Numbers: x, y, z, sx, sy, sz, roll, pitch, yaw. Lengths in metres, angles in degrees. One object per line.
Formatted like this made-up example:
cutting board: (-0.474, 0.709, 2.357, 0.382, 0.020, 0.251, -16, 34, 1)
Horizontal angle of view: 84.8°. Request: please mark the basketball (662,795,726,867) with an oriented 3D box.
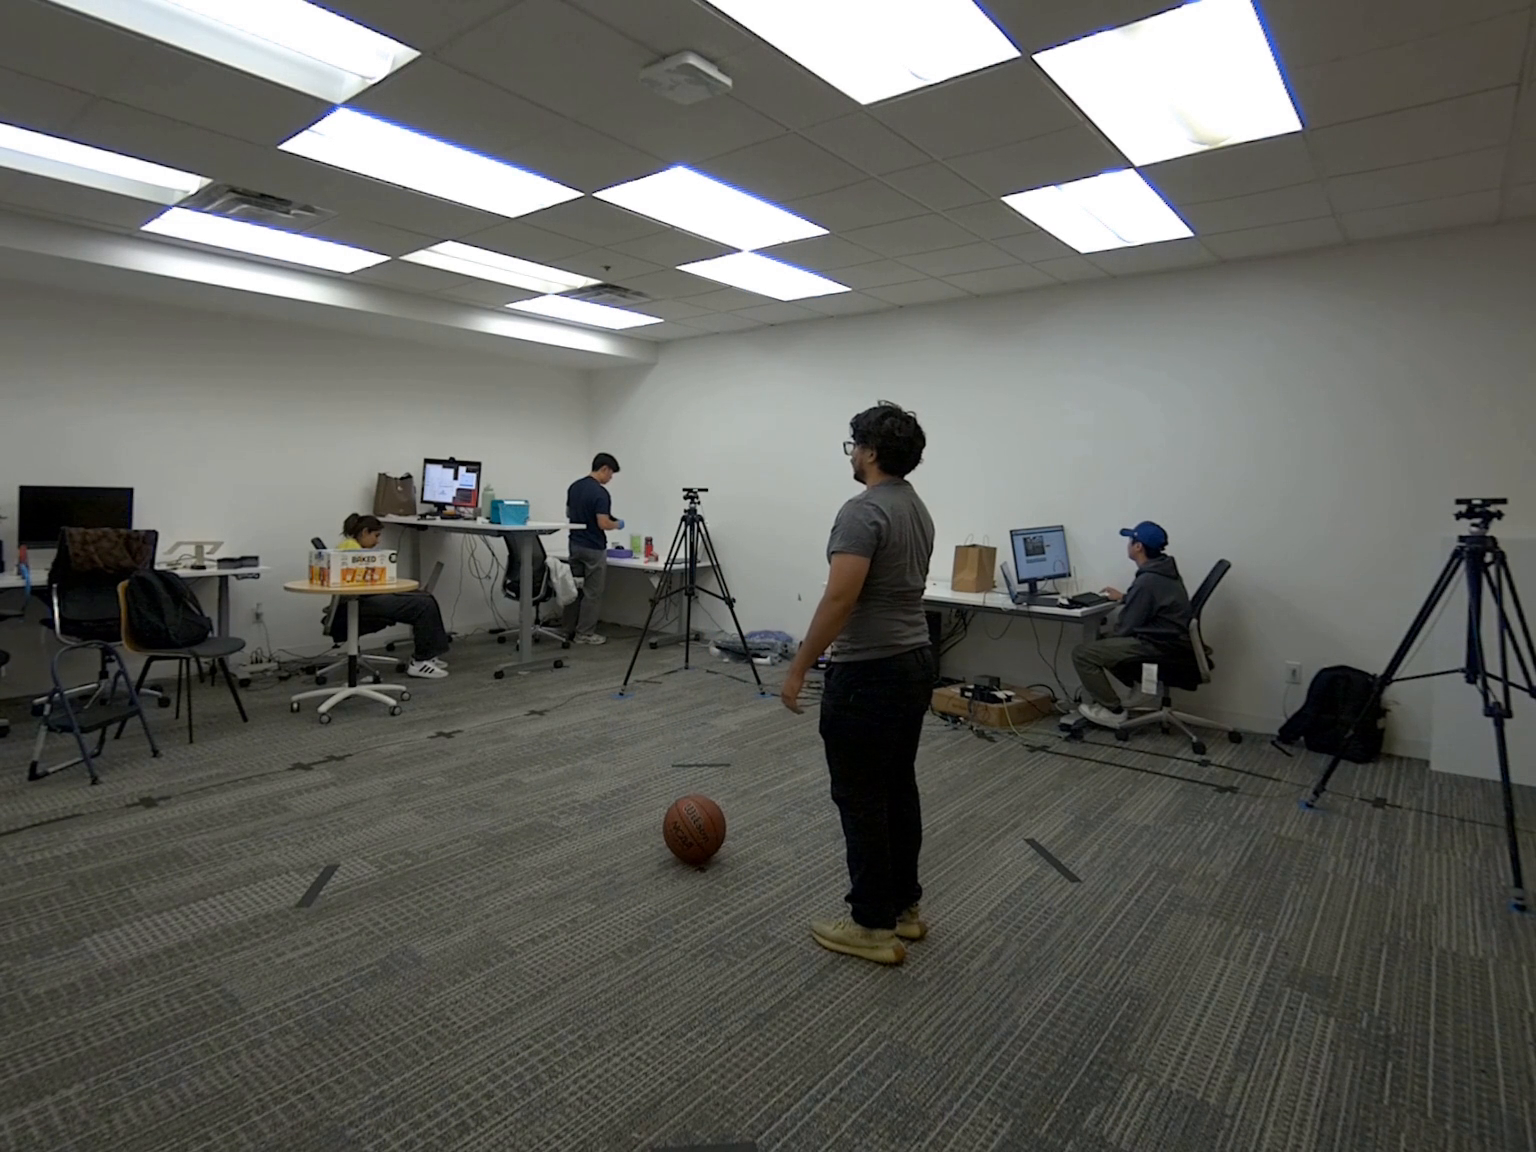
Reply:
basketball: (-0.278, 0.941, 3.187, 0.235, 0.235, 0.237, 1, 4, -2)
